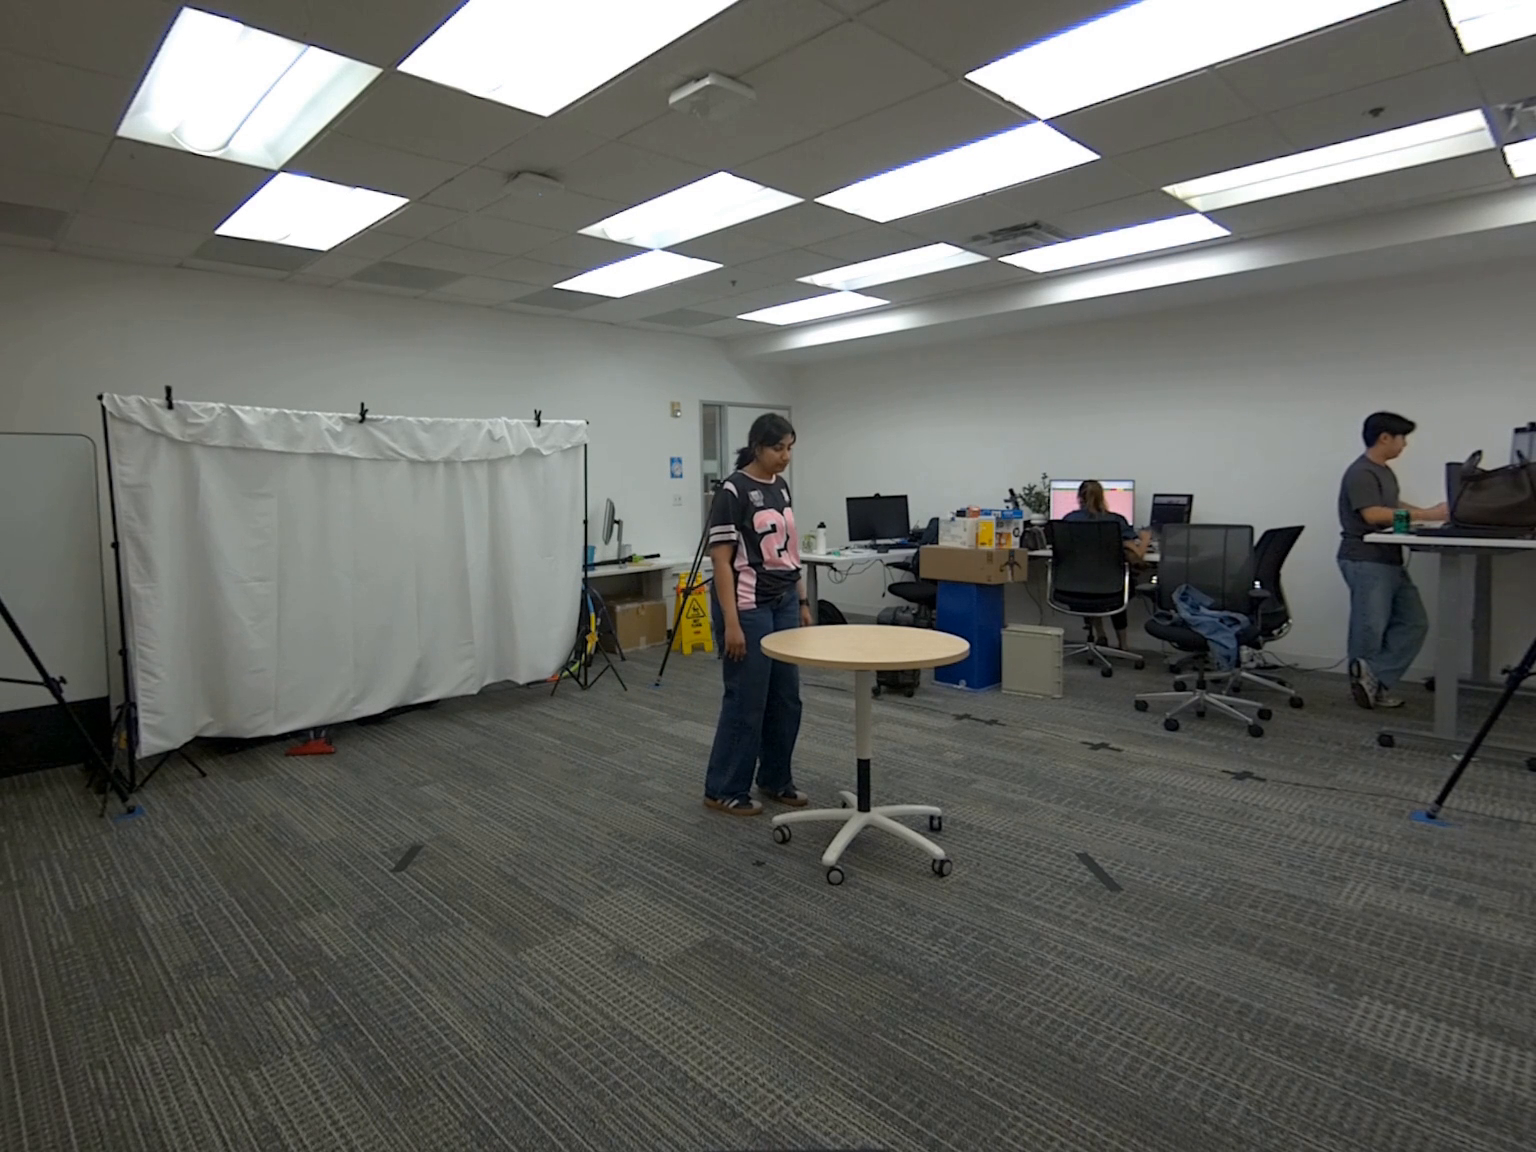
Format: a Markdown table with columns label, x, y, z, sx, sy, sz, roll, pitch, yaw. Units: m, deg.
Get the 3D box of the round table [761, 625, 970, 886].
| label | x | y | z | sx | sy | sz | roll | pitch | yaw |
| --- | --- | --- | --- | --- | --- | --- | --- | --- | --- |
| round table | 0.366 | 0.633 | 3.226 | 0.784 | 0.783 | 0.789 | -1 | 5 | -2 |
